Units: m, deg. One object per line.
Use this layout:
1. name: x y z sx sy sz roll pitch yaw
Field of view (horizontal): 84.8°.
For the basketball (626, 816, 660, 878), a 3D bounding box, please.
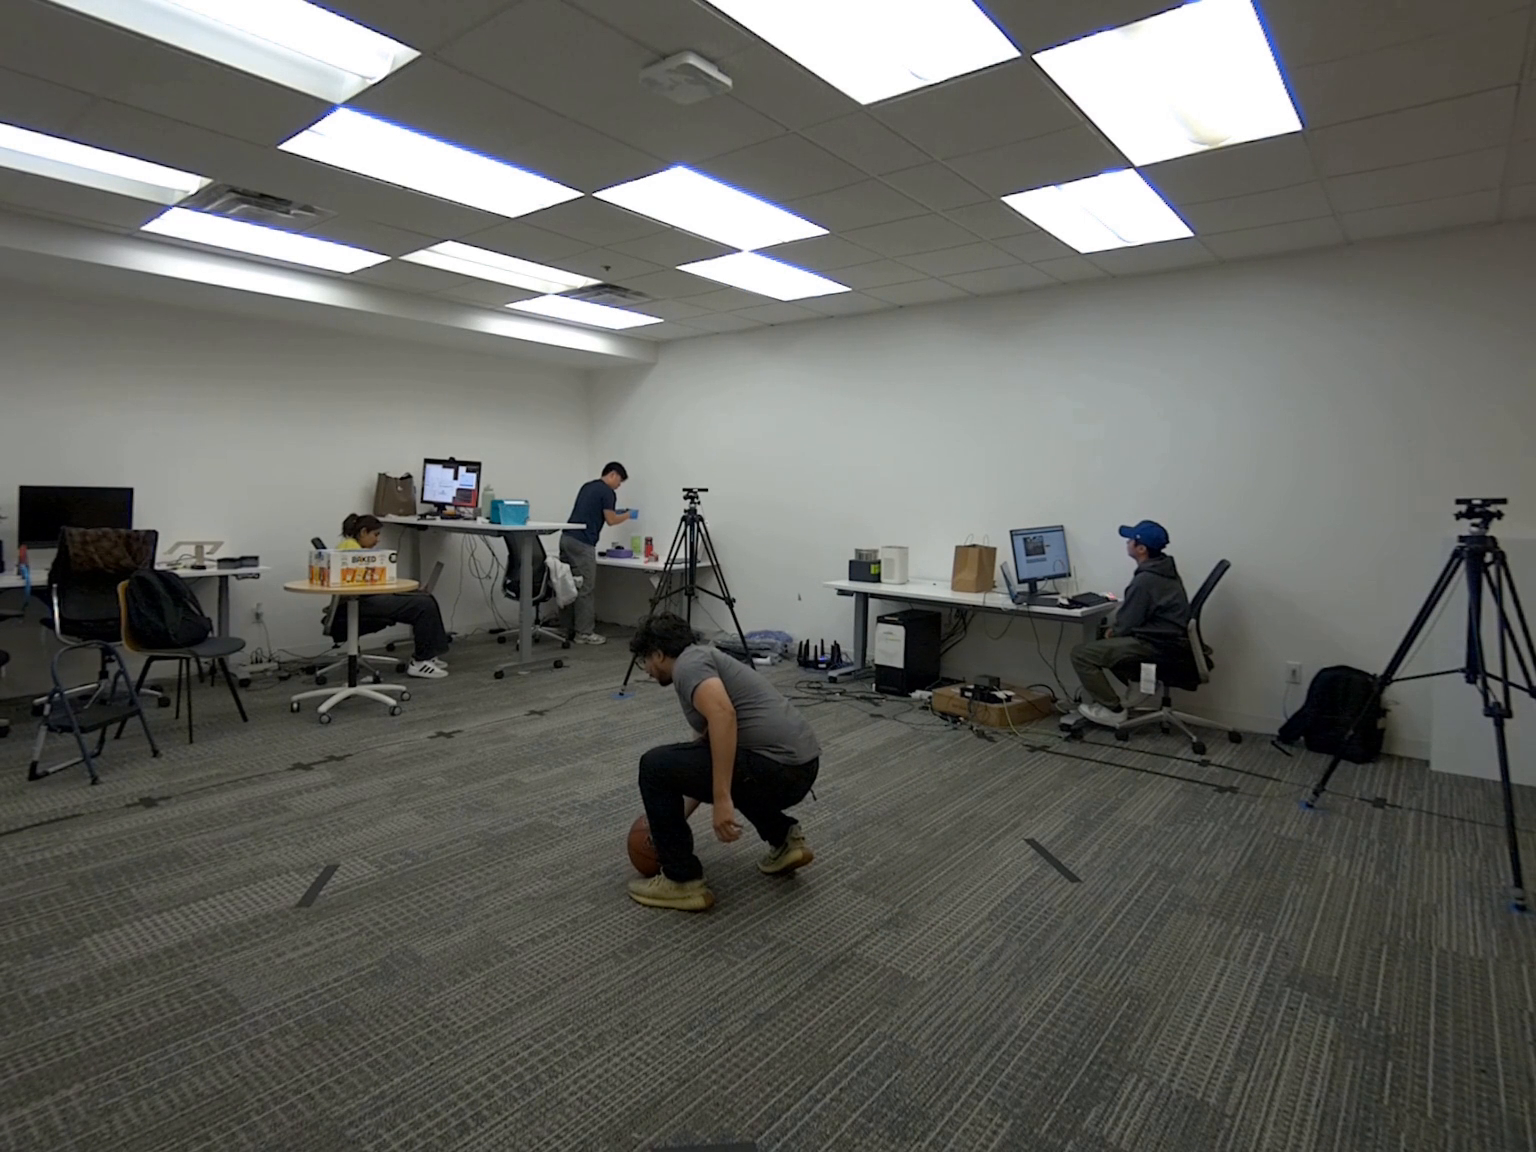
1. basketball: -0.393 0.953 3.050 0.235 0.235 0.237 1 4 -2
